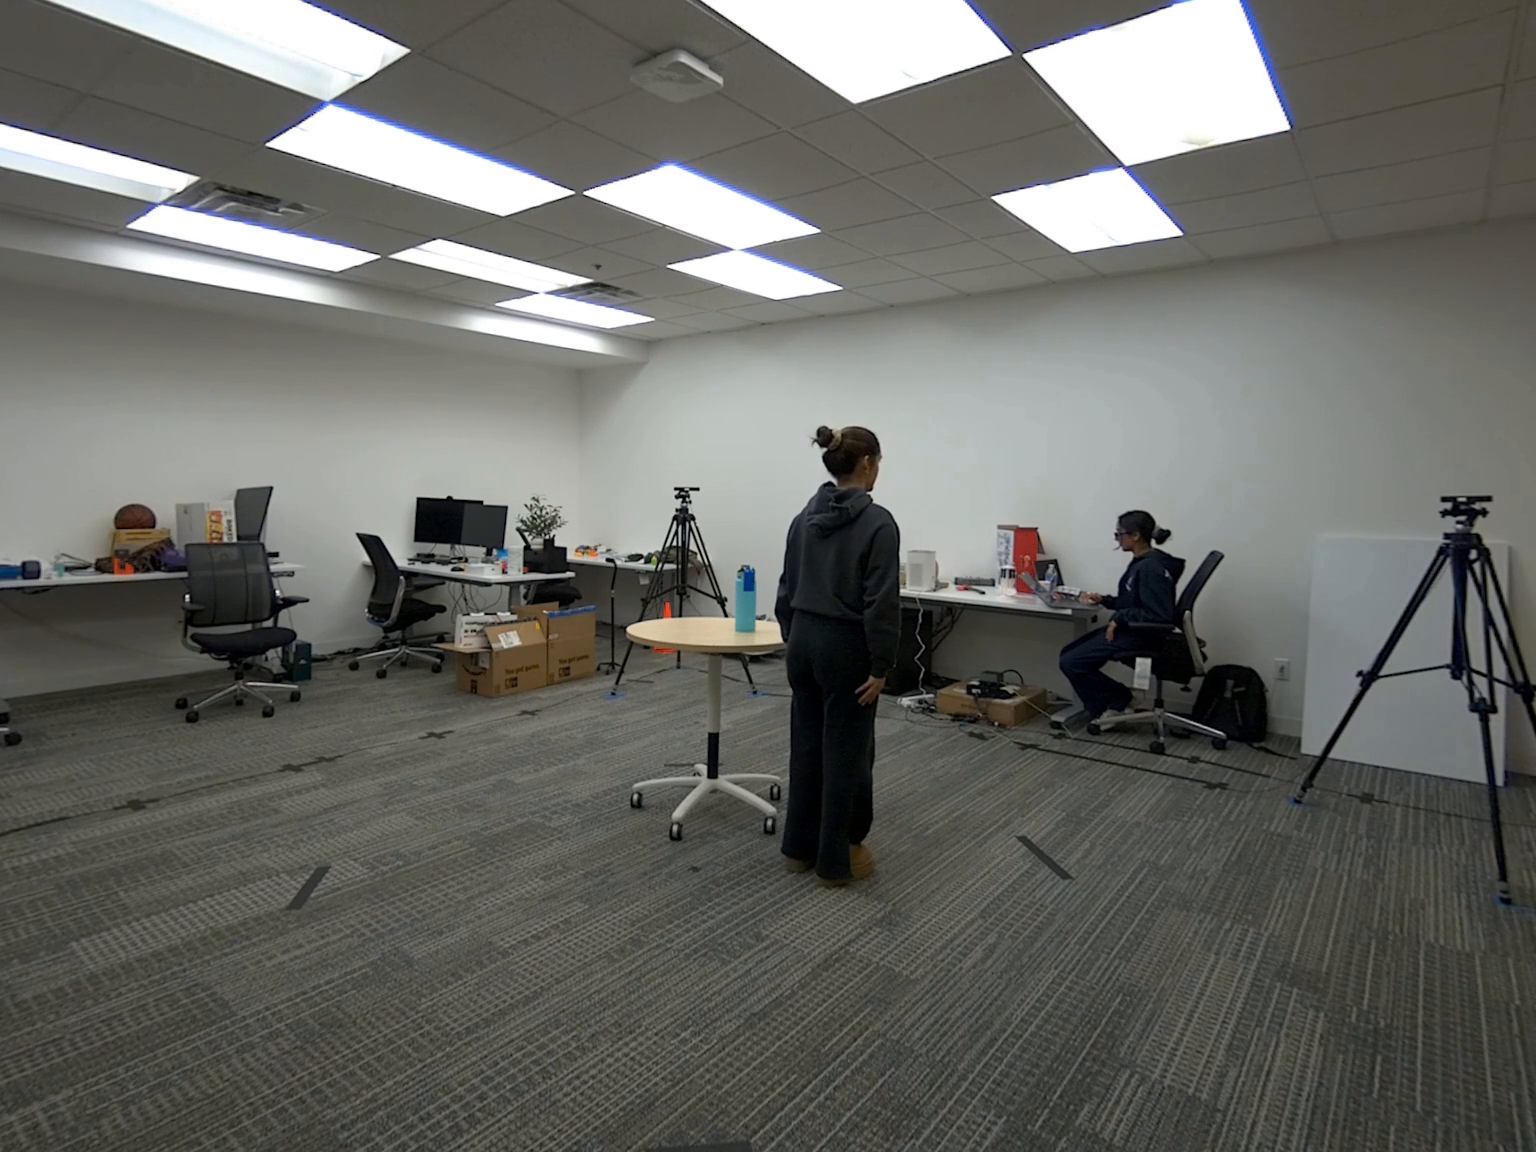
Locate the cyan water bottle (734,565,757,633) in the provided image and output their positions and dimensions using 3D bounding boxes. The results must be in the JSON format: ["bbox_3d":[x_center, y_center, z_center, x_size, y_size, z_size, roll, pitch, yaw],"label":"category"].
[{"bbox_3d":[-0.098,0.094,3.664,0.092,0.282,0.093,3,4,-2],"label":"cyan water bottle"}]
